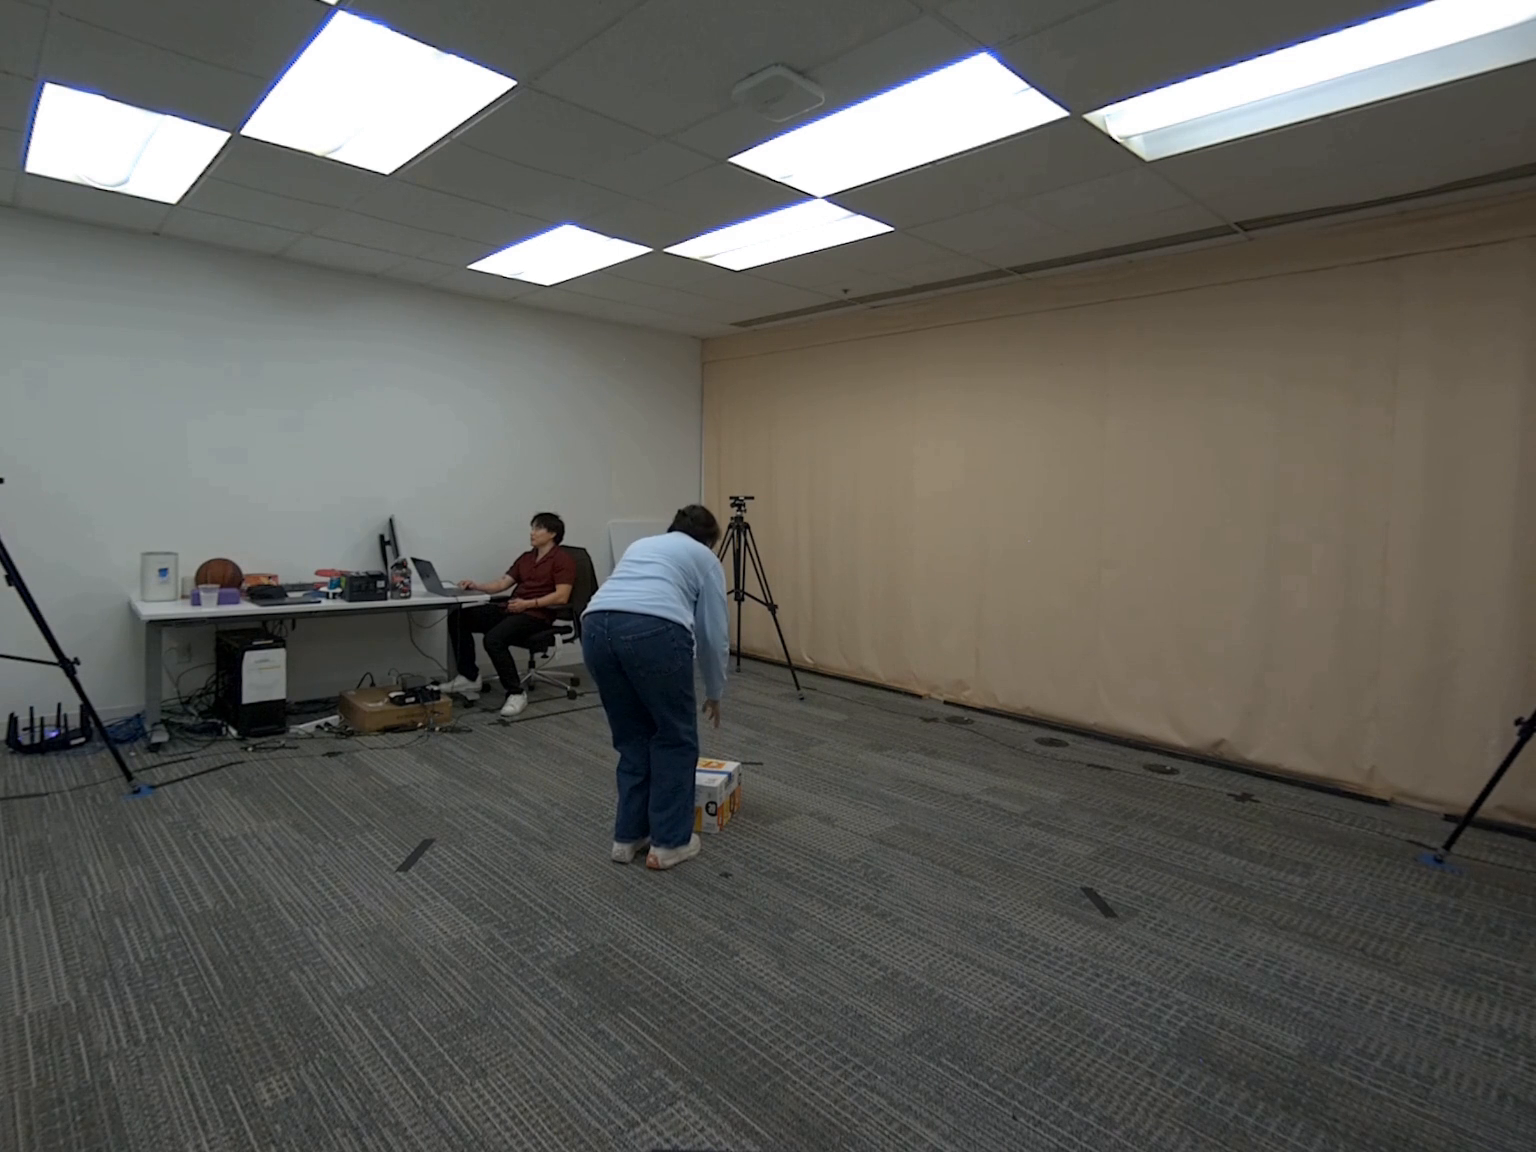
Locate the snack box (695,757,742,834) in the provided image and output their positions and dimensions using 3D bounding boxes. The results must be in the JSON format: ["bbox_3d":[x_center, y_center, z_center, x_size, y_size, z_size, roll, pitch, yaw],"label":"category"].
[{"bbox_3d":[-0.377,0.950,3.696,0.411,0.205,0.336,3,4,16],"label":"snack box"}]
